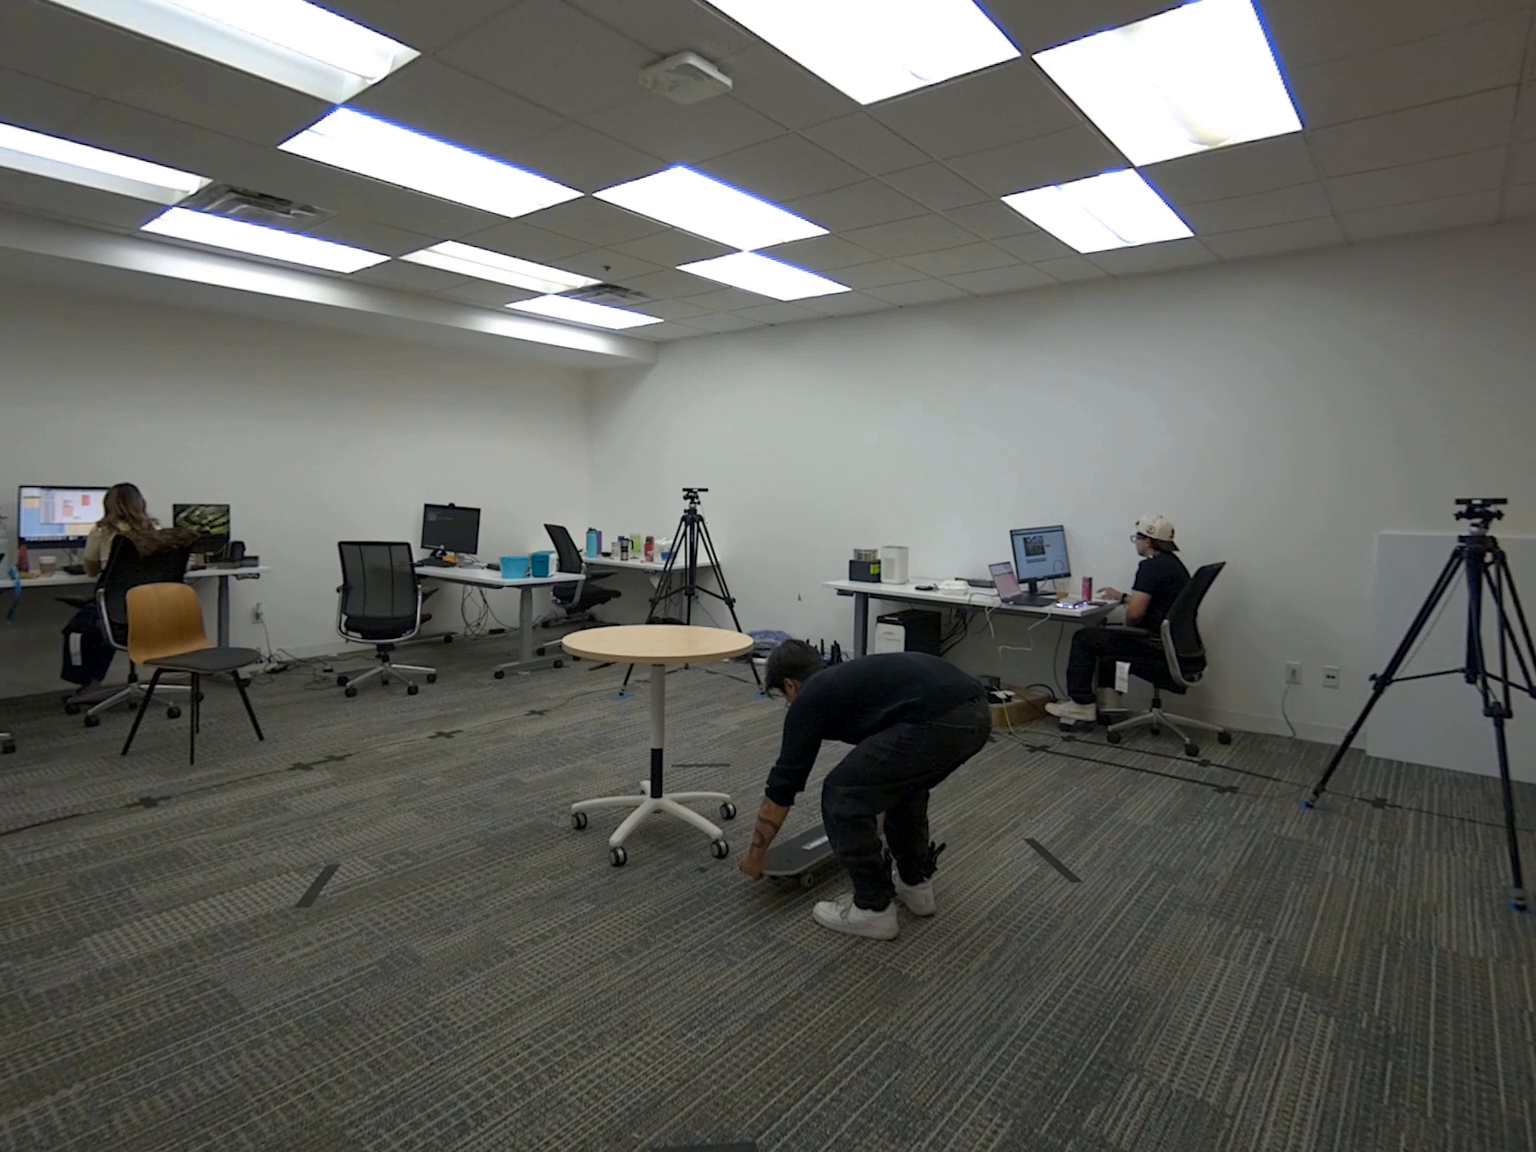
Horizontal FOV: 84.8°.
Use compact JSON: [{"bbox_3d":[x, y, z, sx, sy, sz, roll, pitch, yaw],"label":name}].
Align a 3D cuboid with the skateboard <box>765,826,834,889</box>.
[{"bbox_3d":[0.195,1.012,3.165,0.199,0.110,0.762,0,4,40],"label":"skateboard"}]
